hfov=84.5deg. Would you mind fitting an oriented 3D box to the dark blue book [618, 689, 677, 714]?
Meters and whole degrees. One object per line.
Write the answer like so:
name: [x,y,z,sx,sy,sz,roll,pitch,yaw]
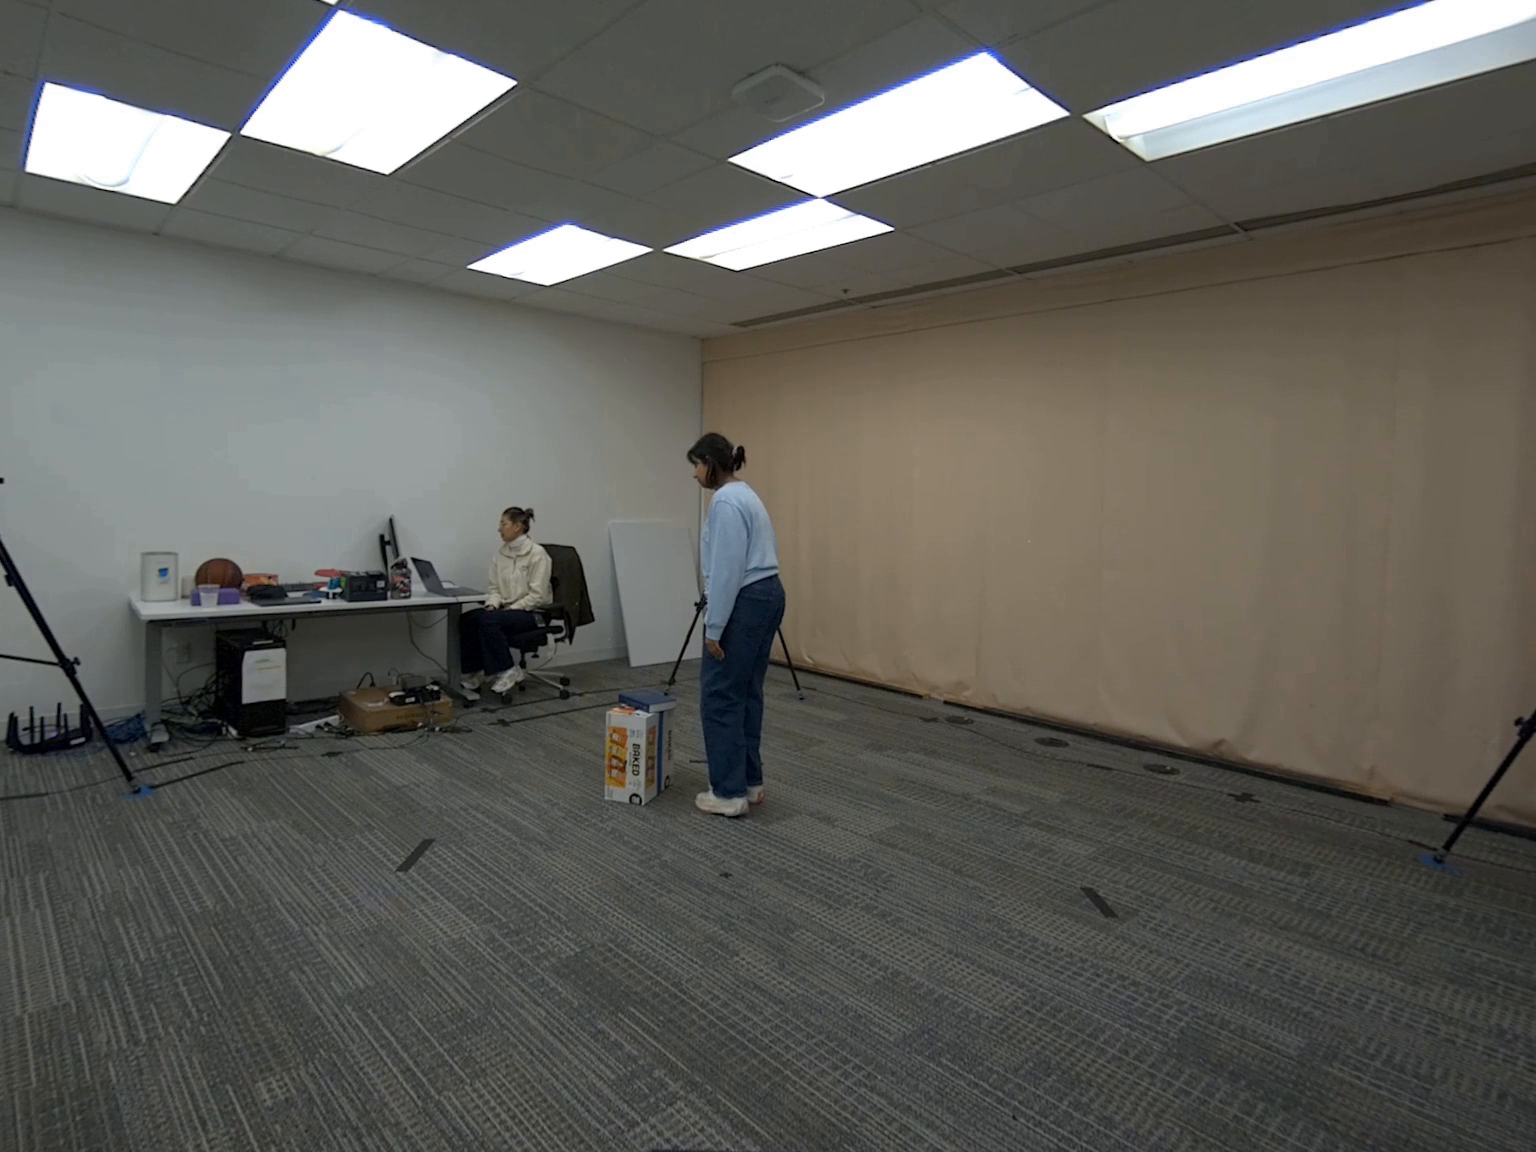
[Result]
dark blue book: [-0.573,0.587,3.985,0.159,0.045,0.251,-3,7,-44]
